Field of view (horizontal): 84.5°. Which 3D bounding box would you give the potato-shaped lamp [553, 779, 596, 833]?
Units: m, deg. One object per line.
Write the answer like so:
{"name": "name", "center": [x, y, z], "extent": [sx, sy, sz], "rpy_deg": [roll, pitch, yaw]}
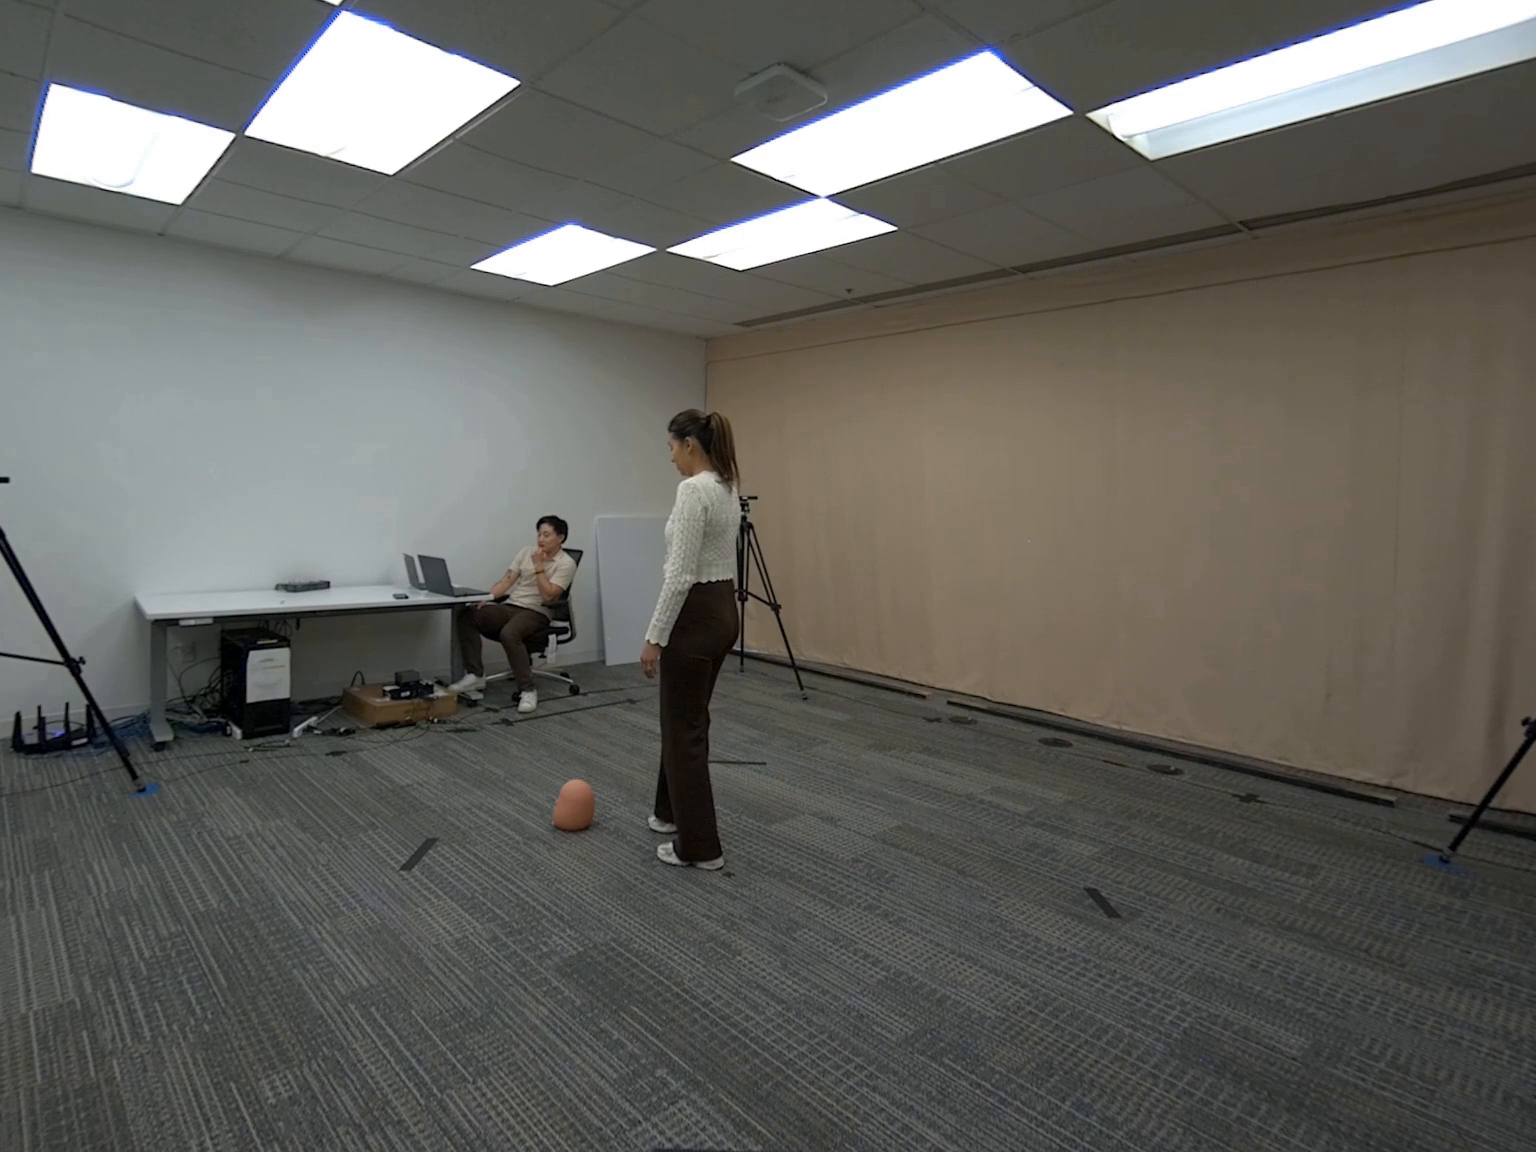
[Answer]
{"name": "potato-shaped lamp", "center": [-0.814, 0.948, 3.518], "extent": [0.176, 0.197, 0.161], "rpy_deg": [8, 7, 36]}
